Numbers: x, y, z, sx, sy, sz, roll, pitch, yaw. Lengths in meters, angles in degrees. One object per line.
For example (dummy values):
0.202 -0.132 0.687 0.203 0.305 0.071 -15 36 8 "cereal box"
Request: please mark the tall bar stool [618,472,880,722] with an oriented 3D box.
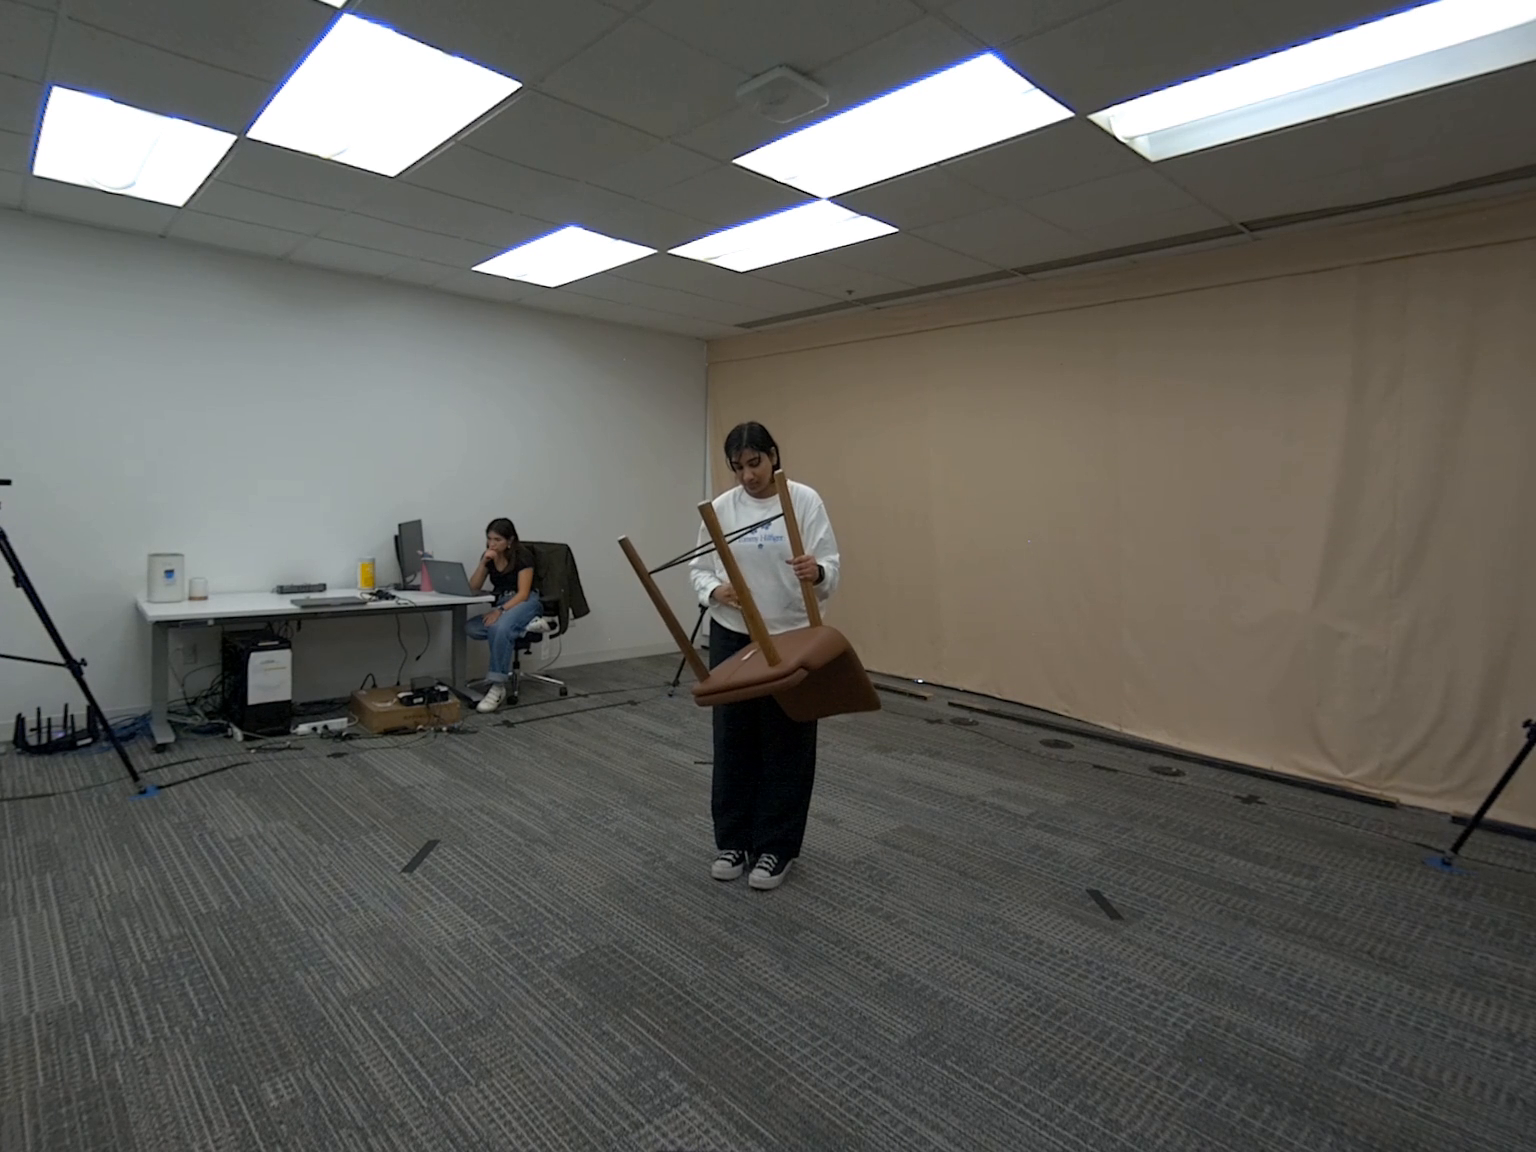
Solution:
-0.042 0.171 2.753 0.463 0.885 0.463 -20 7 40 "tall bar stool"
